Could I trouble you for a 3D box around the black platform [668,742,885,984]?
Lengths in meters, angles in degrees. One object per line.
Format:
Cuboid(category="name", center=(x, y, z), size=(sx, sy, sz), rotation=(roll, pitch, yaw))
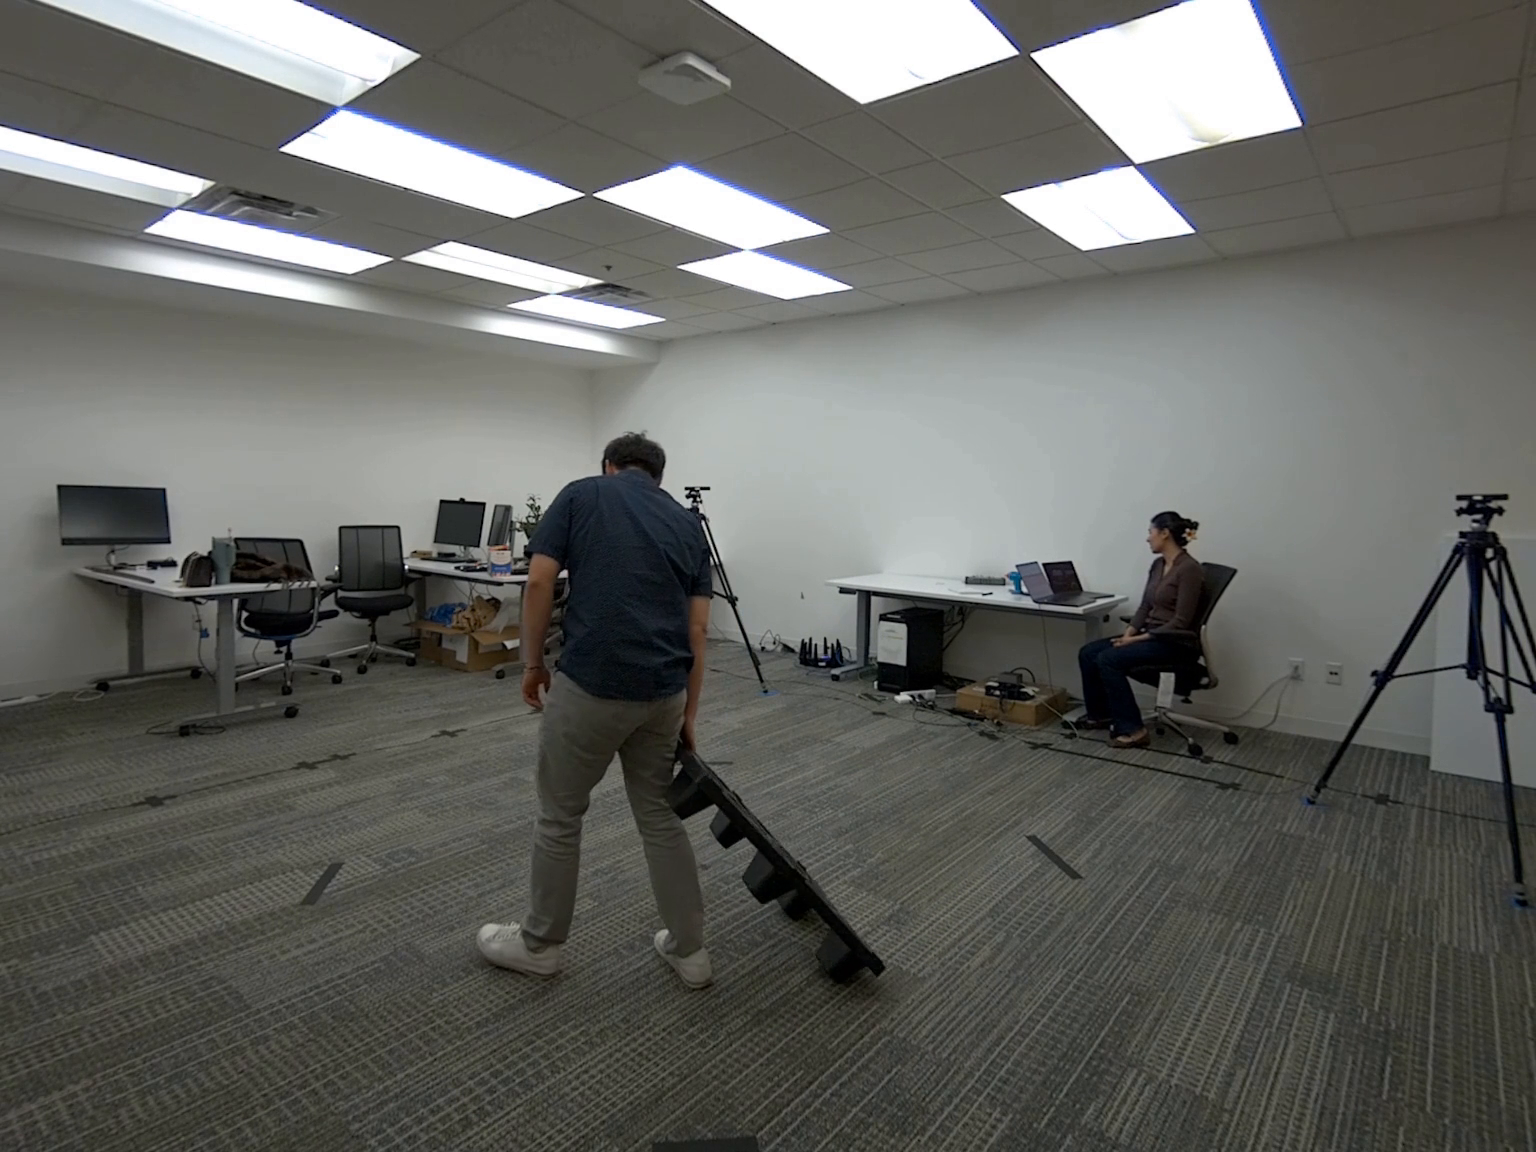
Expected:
Cuboid(category="black platform", center=(-0.063, 0.808, 2.542), size=(0.143, 0.792, 0.617), rotation=(-42, 13, -10))
